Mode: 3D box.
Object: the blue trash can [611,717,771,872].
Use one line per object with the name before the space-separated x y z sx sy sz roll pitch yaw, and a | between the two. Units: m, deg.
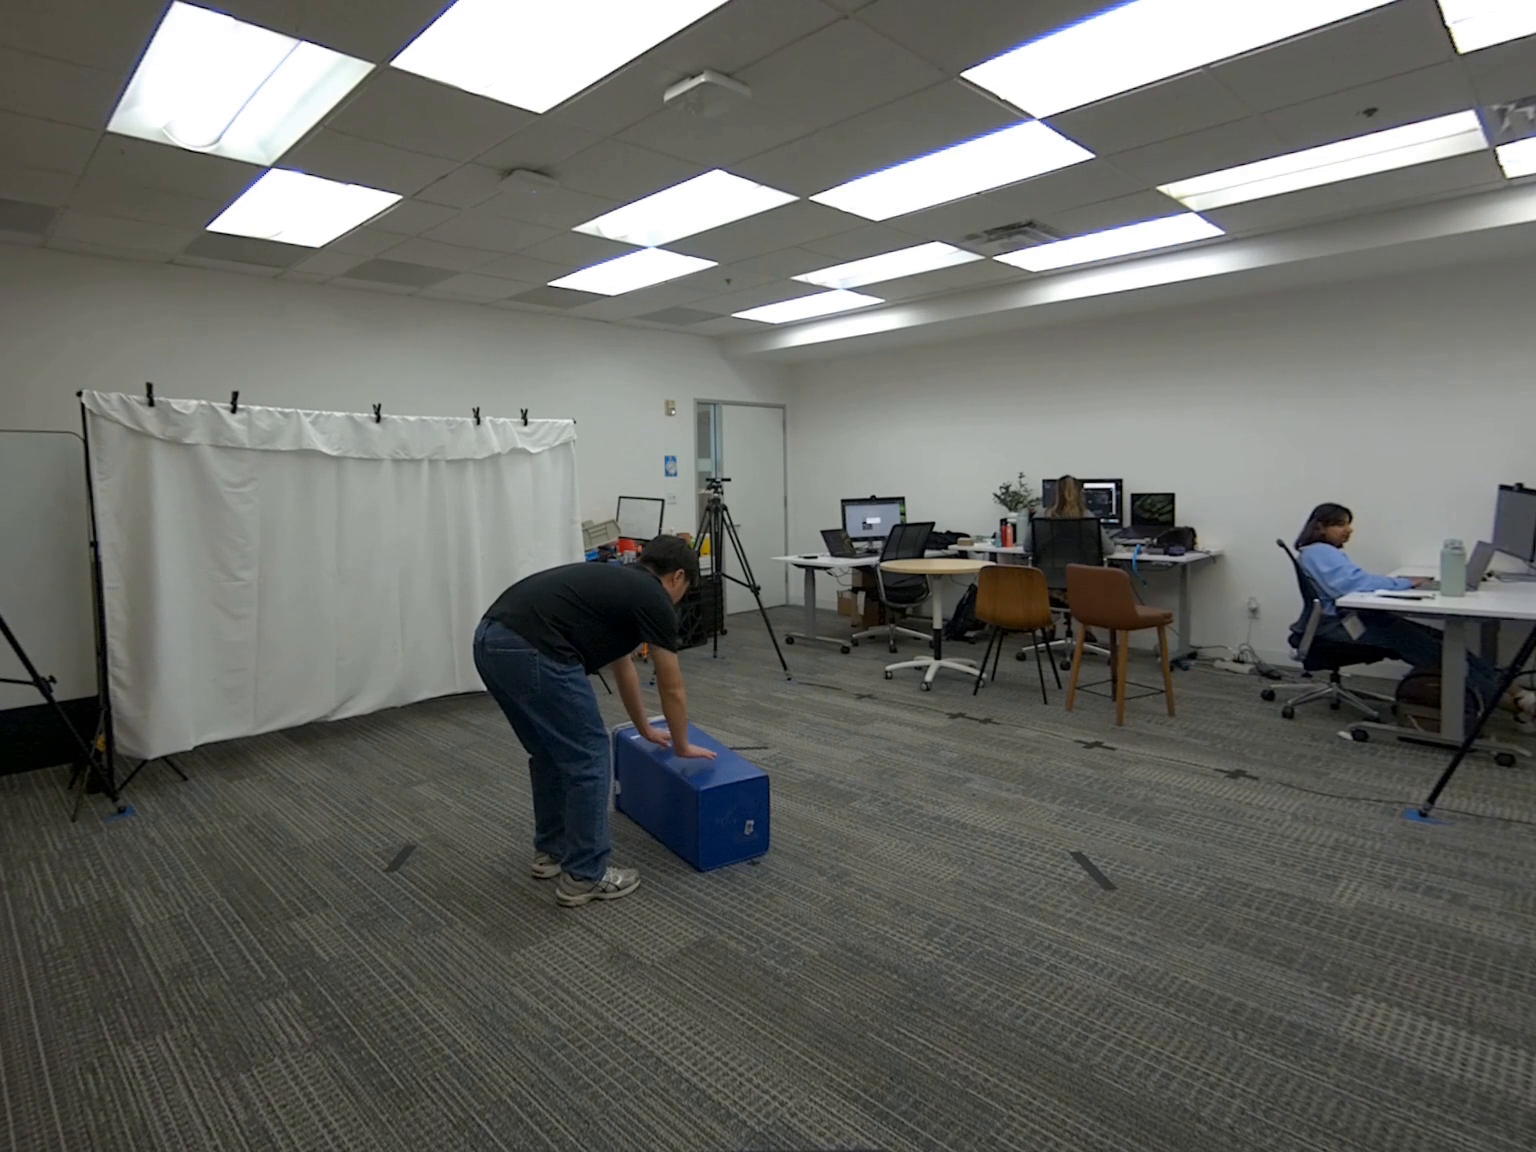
blue trash can | -0.308 0.846 3.399 0.365 0.376 0.736 -4 9 -33
